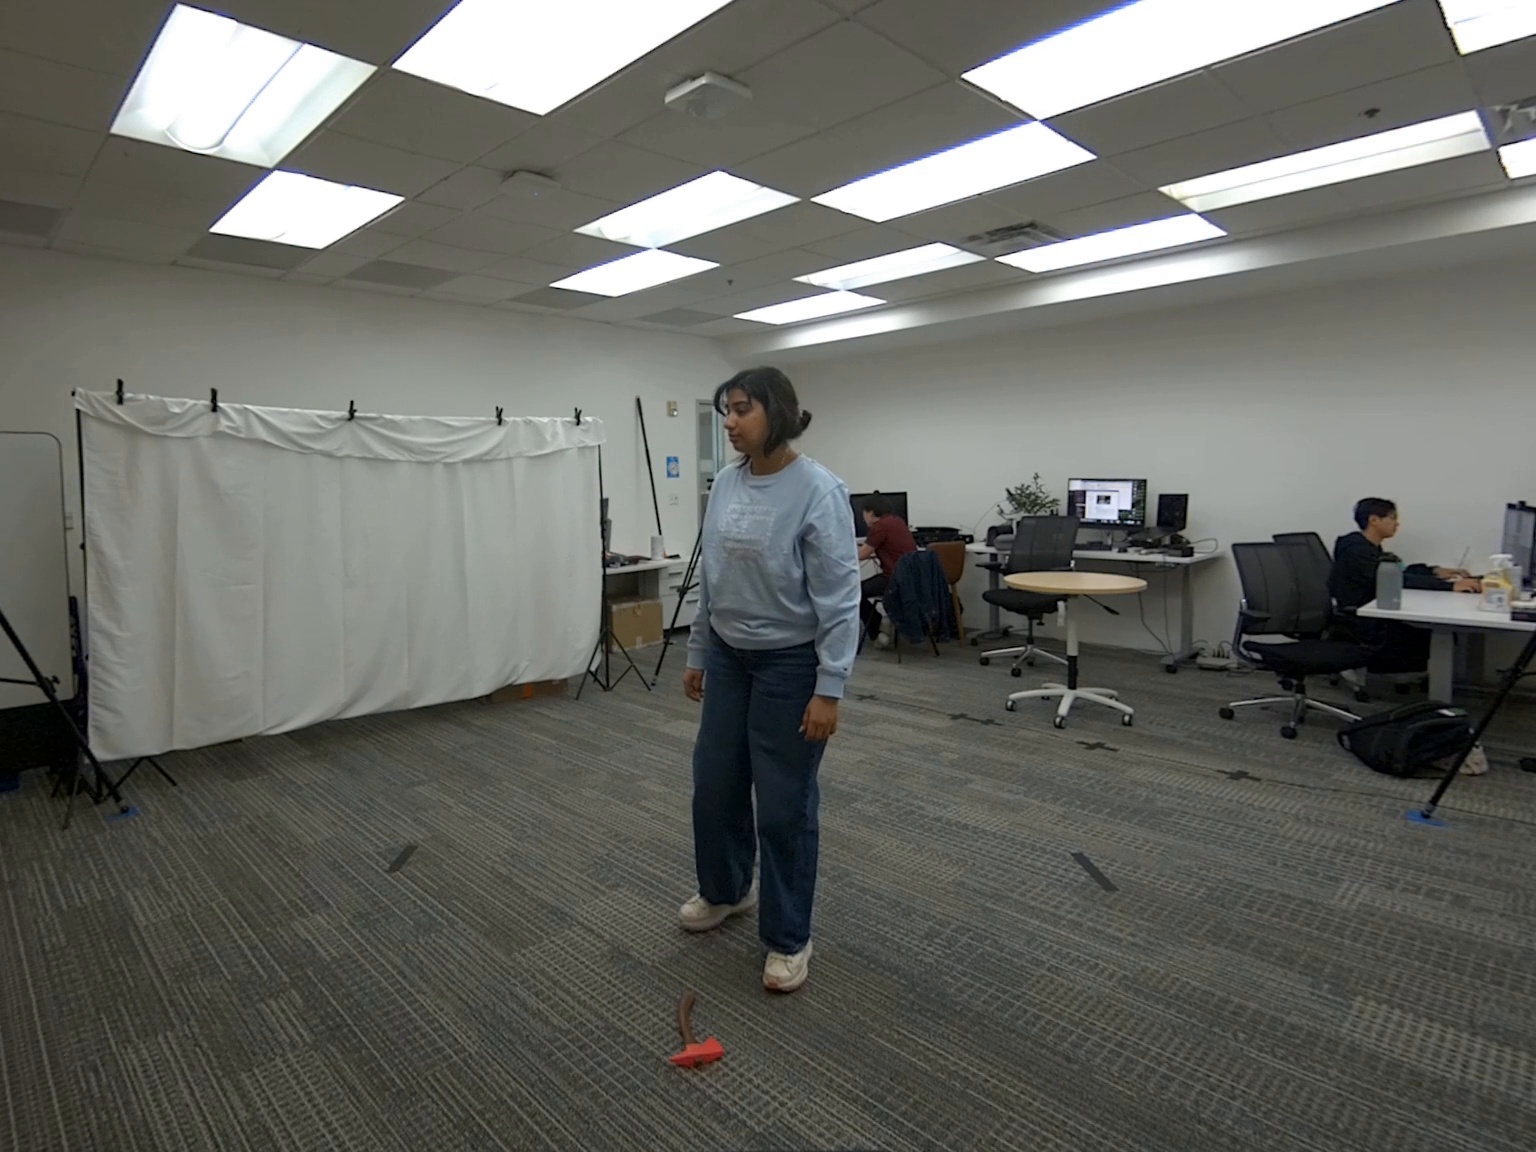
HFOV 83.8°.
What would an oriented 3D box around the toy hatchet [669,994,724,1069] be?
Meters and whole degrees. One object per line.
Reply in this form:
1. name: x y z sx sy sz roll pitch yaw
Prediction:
1. toy hatchet: -0.166 1.150 2.162 0.131 0.029 0.270 -1 5 2
